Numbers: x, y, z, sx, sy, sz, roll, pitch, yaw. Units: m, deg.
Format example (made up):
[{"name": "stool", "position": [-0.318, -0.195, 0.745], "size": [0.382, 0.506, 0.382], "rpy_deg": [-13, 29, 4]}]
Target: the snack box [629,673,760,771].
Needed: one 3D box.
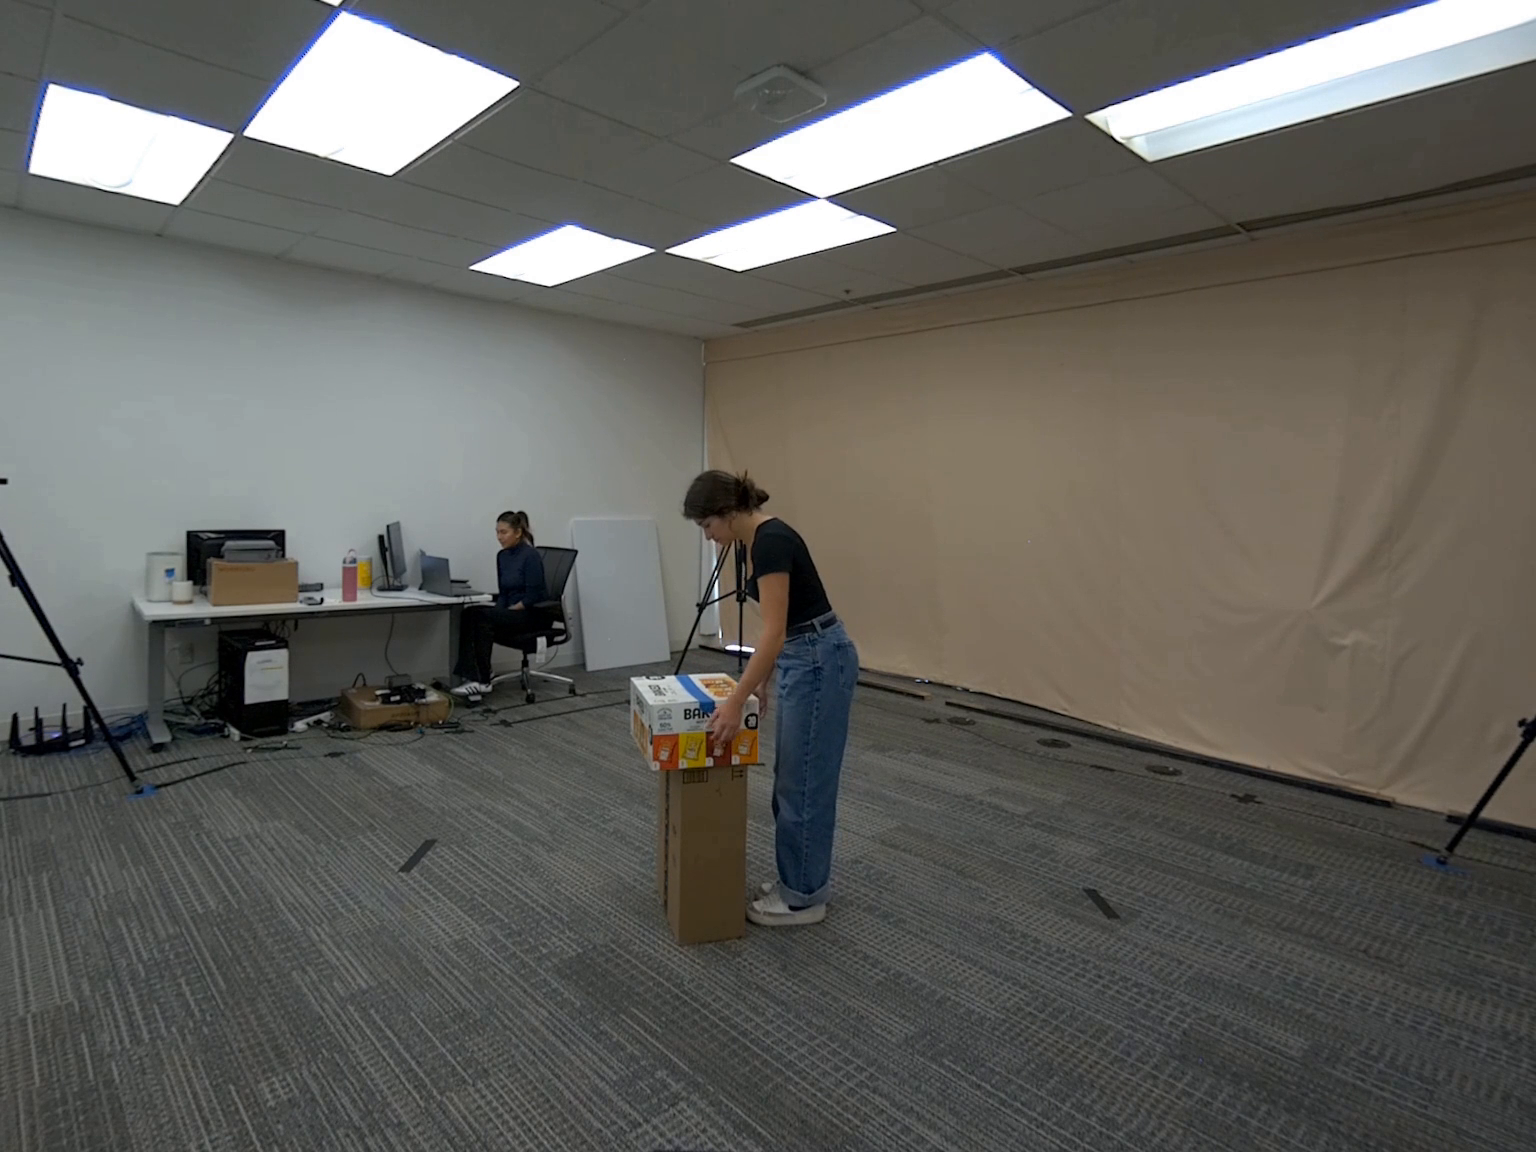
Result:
[{"name": "snack box", "position": [-0.255, 0.466, 2.766], "size": [0.336, 0.205, 0.411], "rpy_deg": [0, 5, -17]}]
